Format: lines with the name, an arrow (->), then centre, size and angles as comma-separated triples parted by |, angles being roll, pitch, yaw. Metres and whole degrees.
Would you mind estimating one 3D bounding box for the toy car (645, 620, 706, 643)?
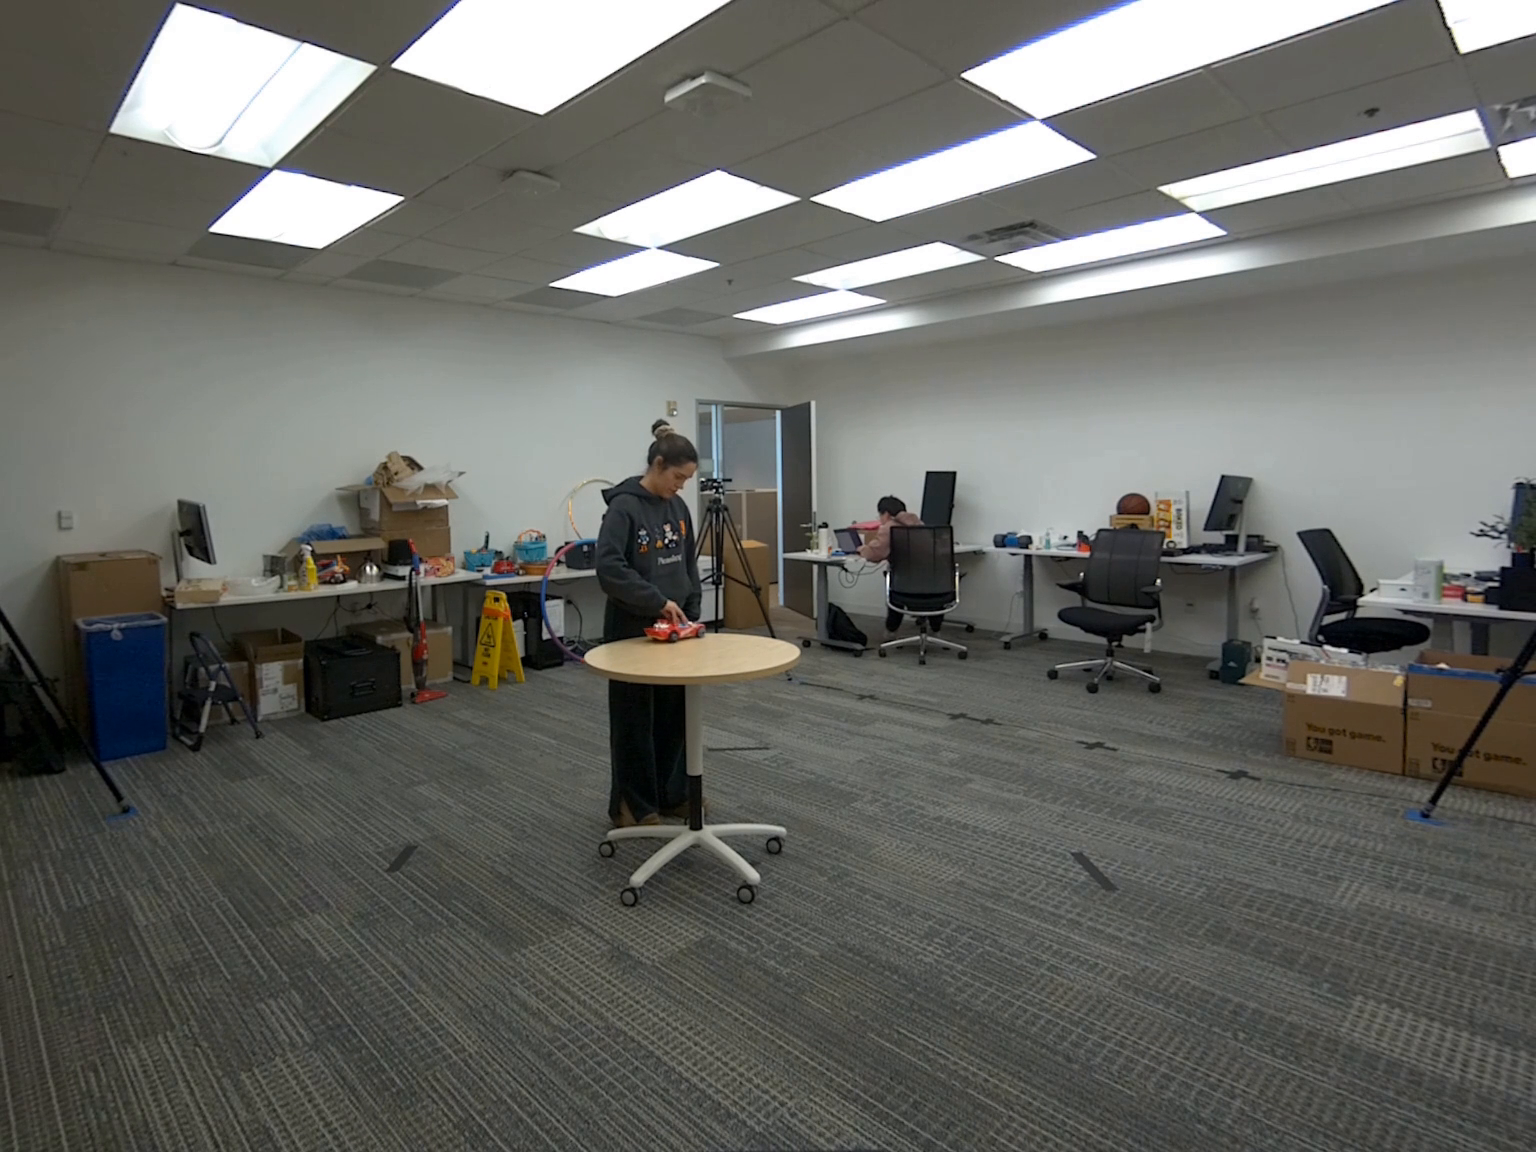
toy car -> -0.365, 0.220, 3.289 | 0.134, 0.083, 0.246 | 4, -5, 43
